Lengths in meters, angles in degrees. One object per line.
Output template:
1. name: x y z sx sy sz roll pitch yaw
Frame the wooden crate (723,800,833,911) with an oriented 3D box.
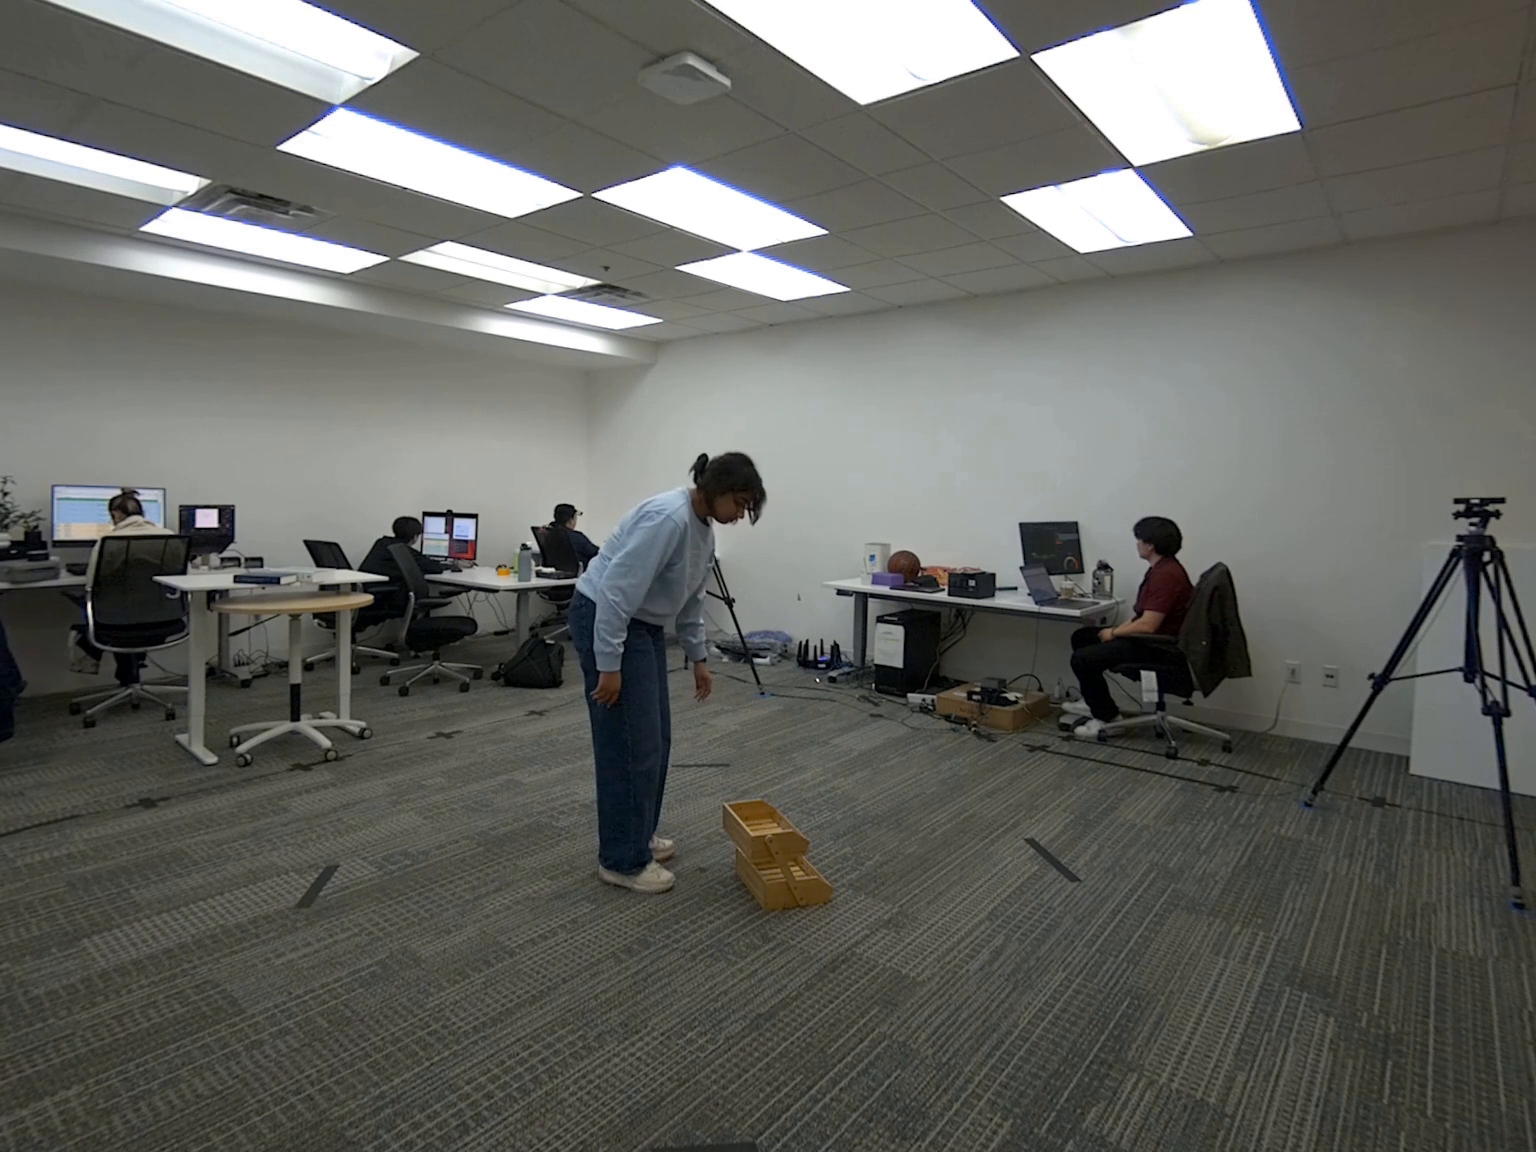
1. wooden crate: 0.026 0.953 2.969 0.296 0.272 0.332 -1 5 -20
